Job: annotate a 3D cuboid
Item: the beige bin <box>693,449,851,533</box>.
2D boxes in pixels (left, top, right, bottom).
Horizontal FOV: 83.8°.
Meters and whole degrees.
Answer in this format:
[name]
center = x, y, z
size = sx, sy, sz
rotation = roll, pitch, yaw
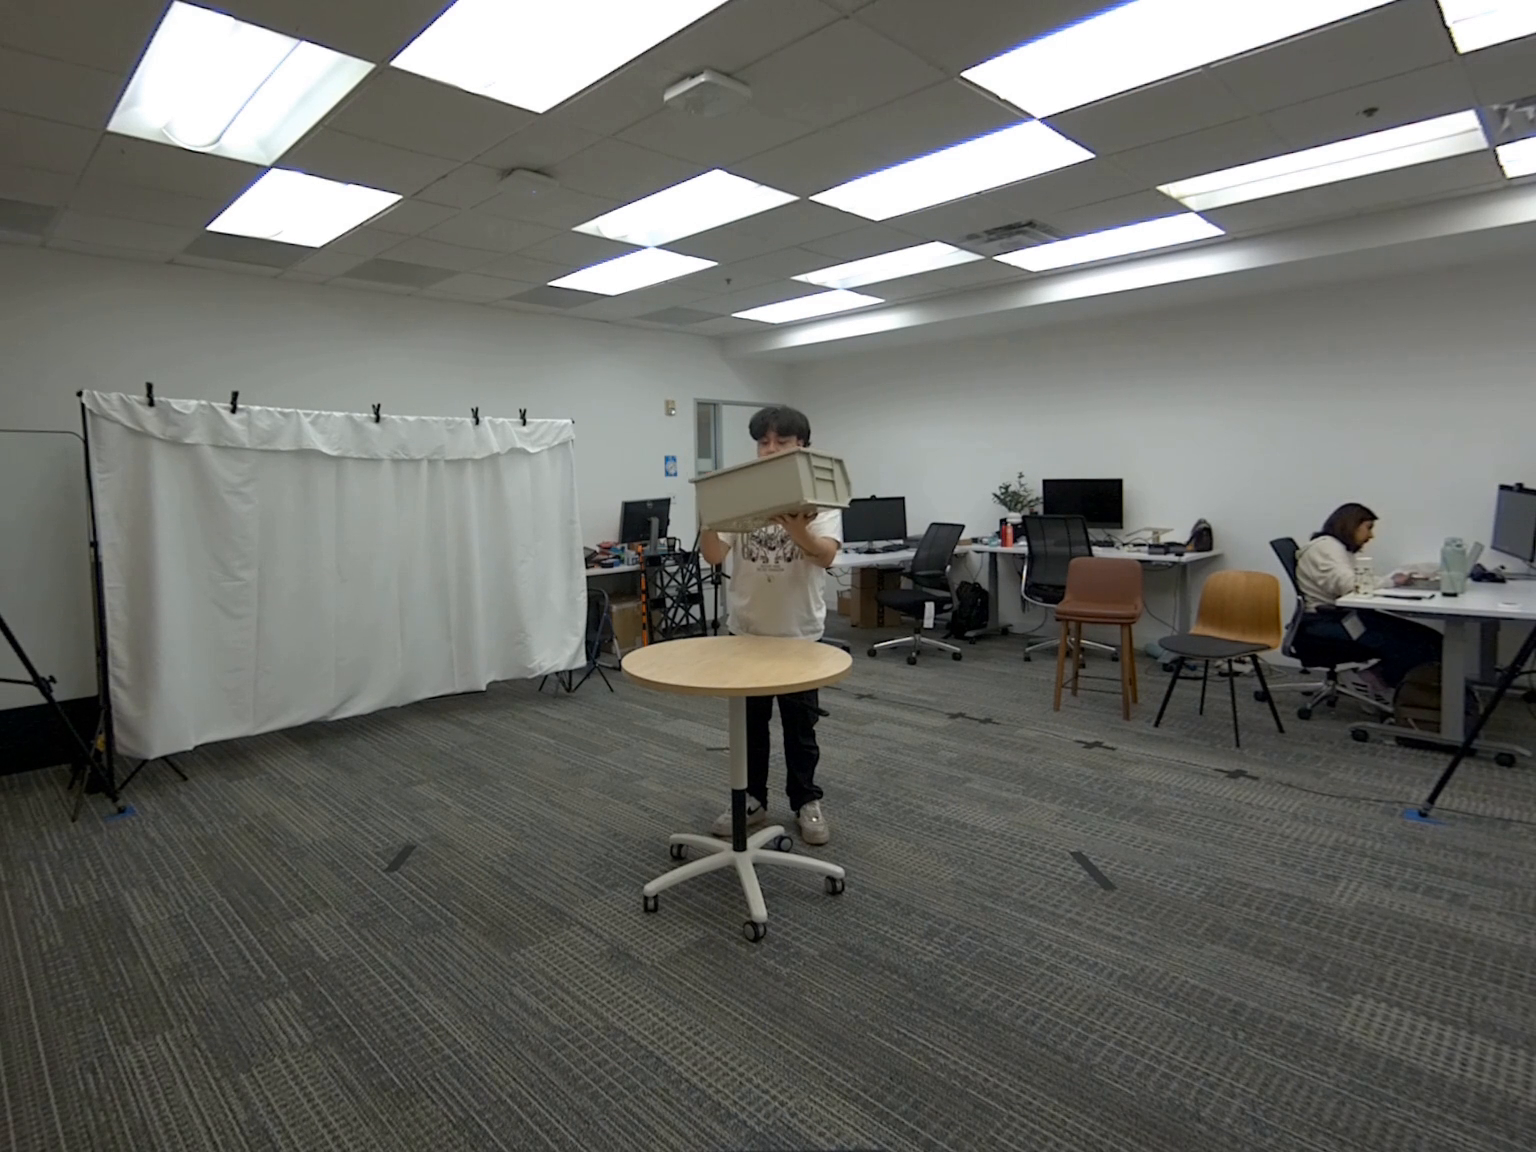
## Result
[beige bin]
center = 0.015, -0.275, 2.894
size = 0.430, 0.190, 0.368
rotation = -12, -4, 30
